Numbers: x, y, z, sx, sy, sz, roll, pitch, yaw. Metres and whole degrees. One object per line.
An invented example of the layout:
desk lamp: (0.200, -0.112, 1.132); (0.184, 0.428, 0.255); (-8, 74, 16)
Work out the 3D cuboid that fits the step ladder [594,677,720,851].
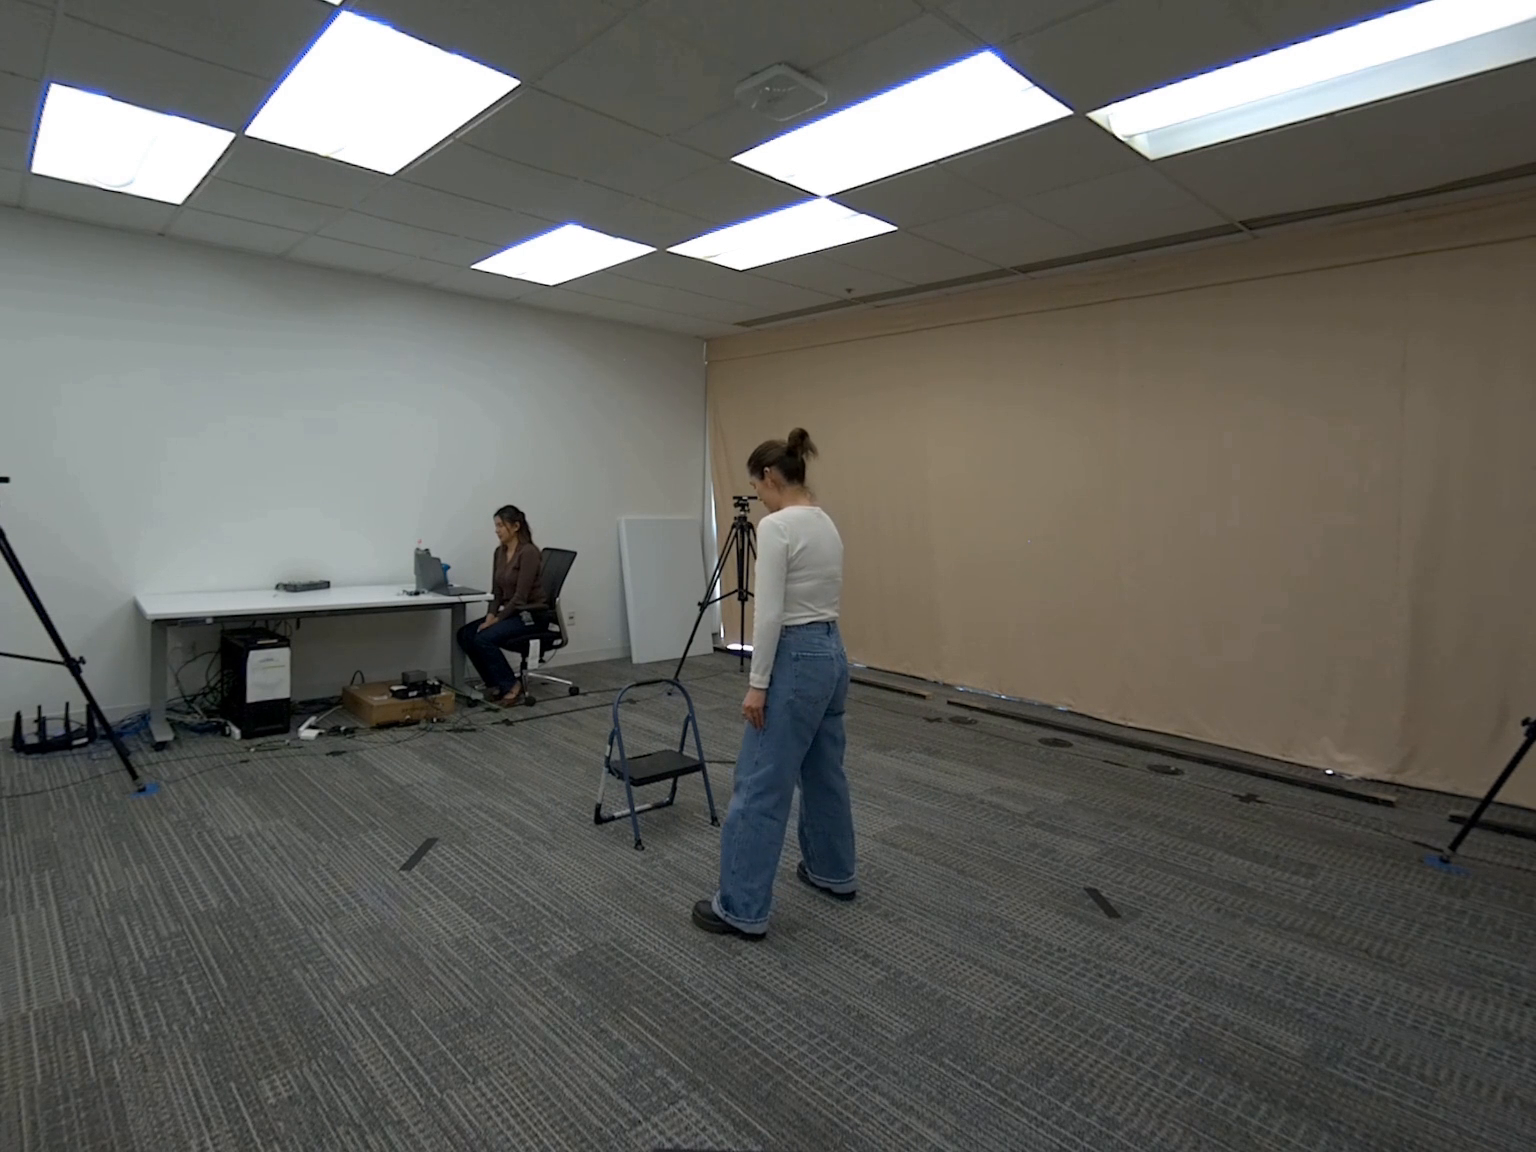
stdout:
step ladder: (-0.471, 0.754, 3.551); (0.421, 0.605, 0.358); (-2, 4, -44)
